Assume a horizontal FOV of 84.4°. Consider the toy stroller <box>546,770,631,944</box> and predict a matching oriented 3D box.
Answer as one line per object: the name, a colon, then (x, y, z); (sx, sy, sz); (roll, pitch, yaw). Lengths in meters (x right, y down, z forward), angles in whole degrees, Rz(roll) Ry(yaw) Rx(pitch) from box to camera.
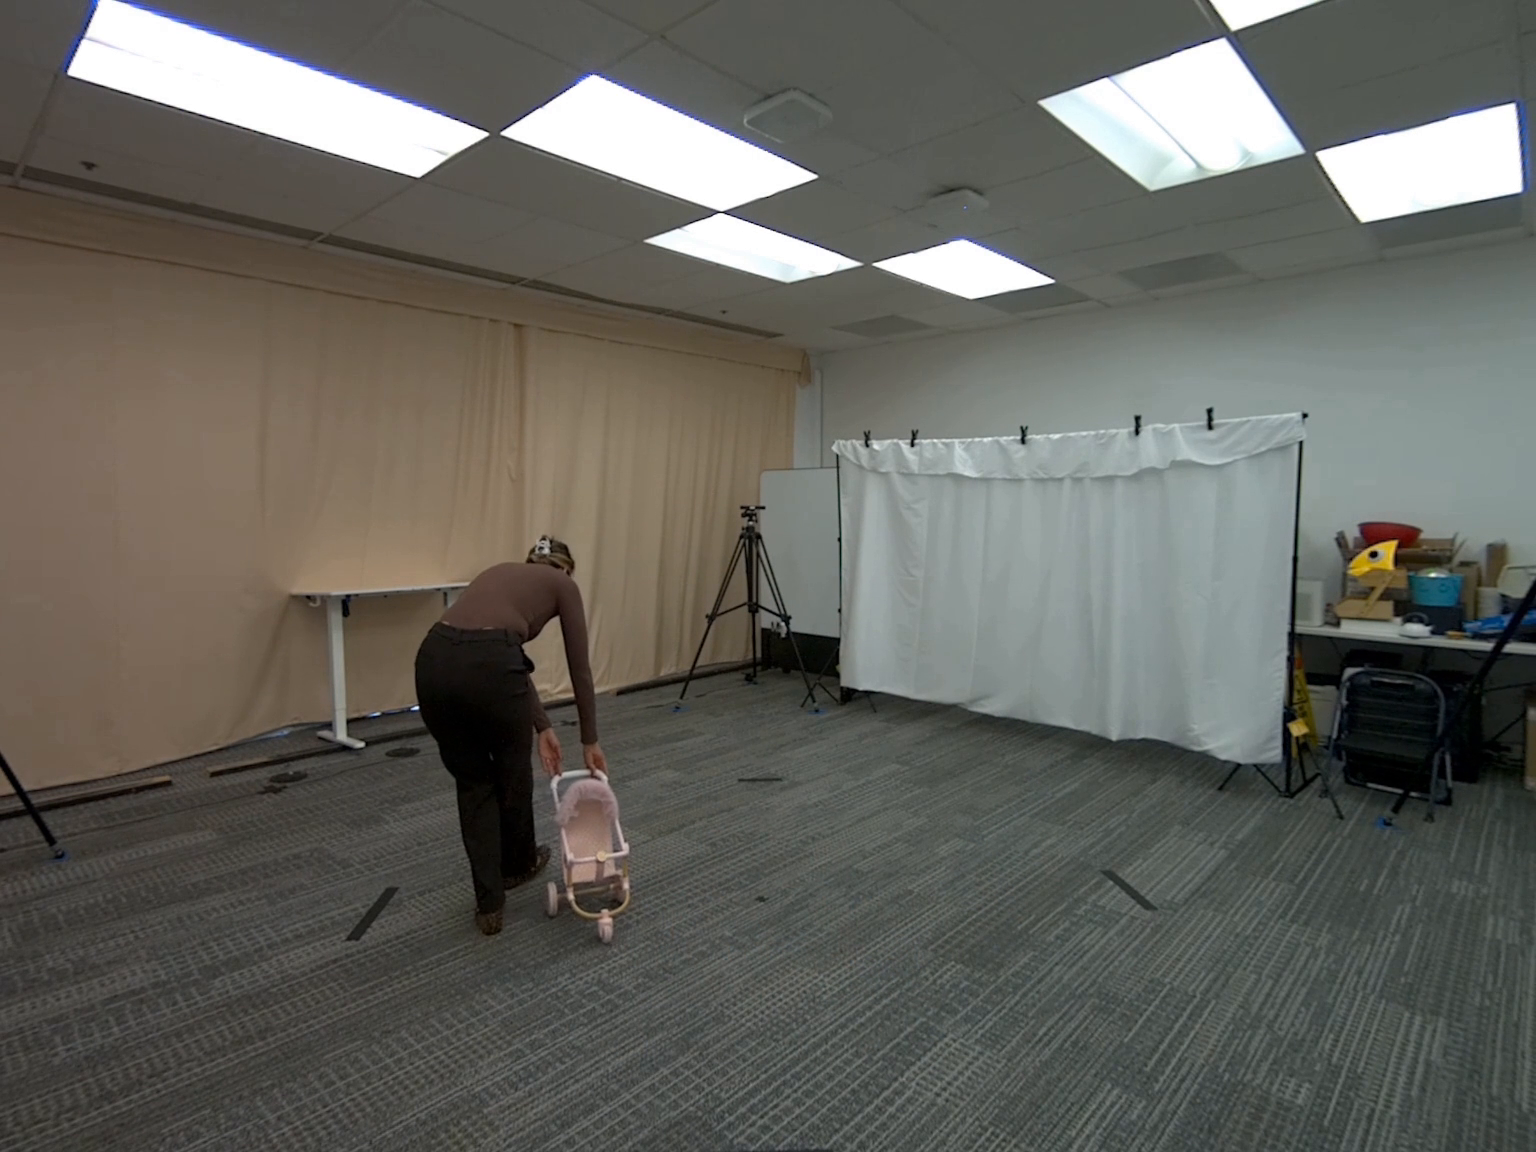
toy stroller: (-0.602, 0.935, 2.847); (0.276, 0.540, 0.345); (-2, -12, -20)
